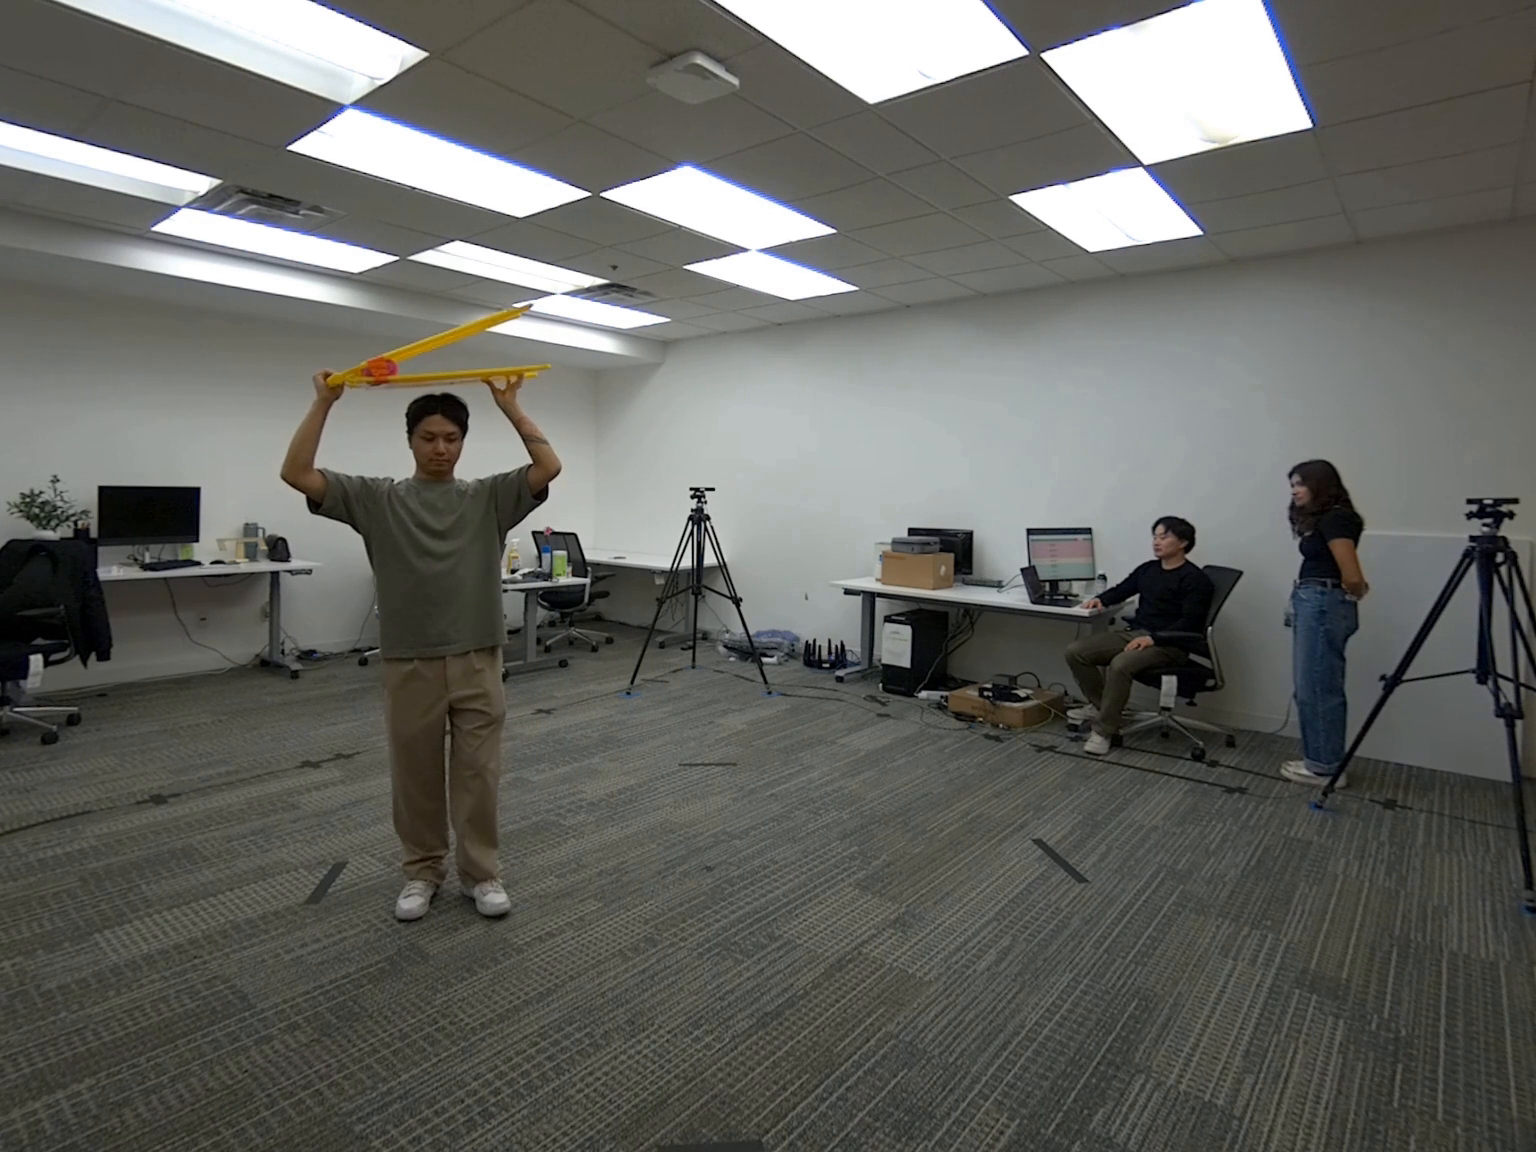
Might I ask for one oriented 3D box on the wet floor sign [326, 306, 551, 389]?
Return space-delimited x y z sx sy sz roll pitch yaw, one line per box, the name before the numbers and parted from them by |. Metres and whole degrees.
wet floor sign | -1.063 -0.678 2.694 0.636 0.286 0.291 -18 14 -24
